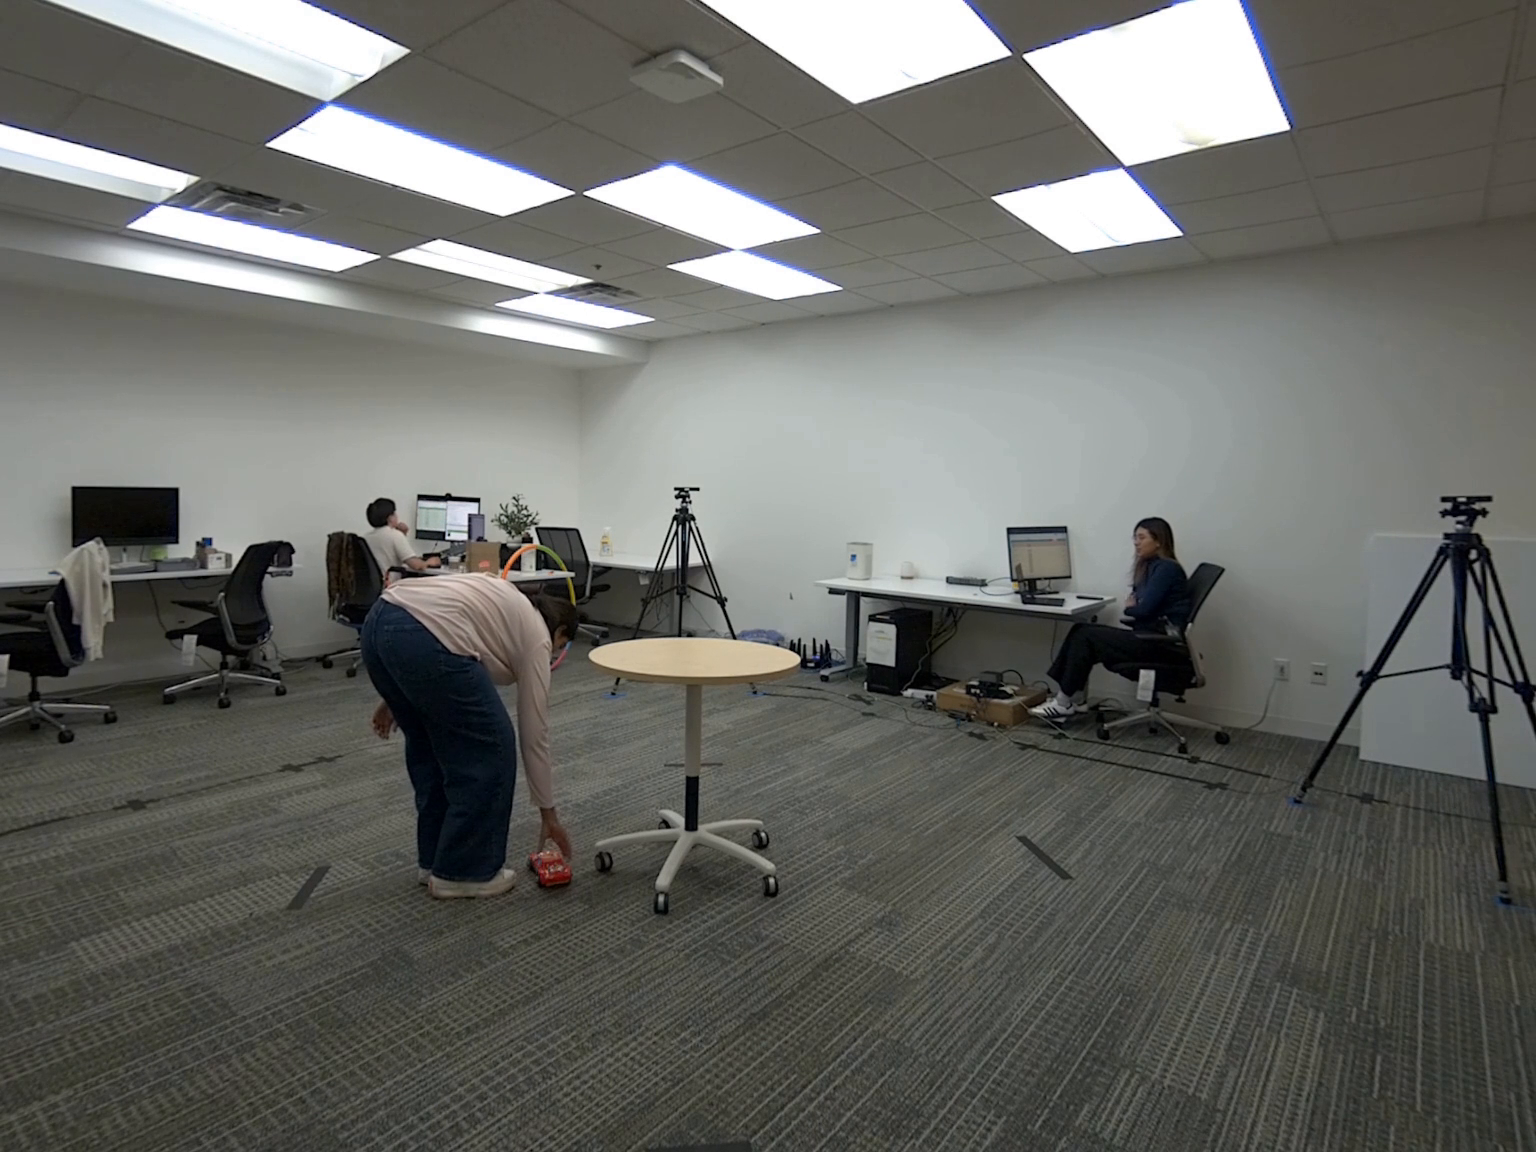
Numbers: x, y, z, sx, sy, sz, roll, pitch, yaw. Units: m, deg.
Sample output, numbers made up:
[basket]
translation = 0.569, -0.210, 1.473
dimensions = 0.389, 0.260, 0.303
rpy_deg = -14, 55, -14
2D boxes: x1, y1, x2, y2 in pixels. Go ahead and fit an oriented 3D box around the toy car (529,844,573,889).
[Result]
[toy car]
translation = -0.788, 1.042, 3.006
dimensions = 0.127, 0.083, 0.259
rpy_deg = -1, -4, -27
